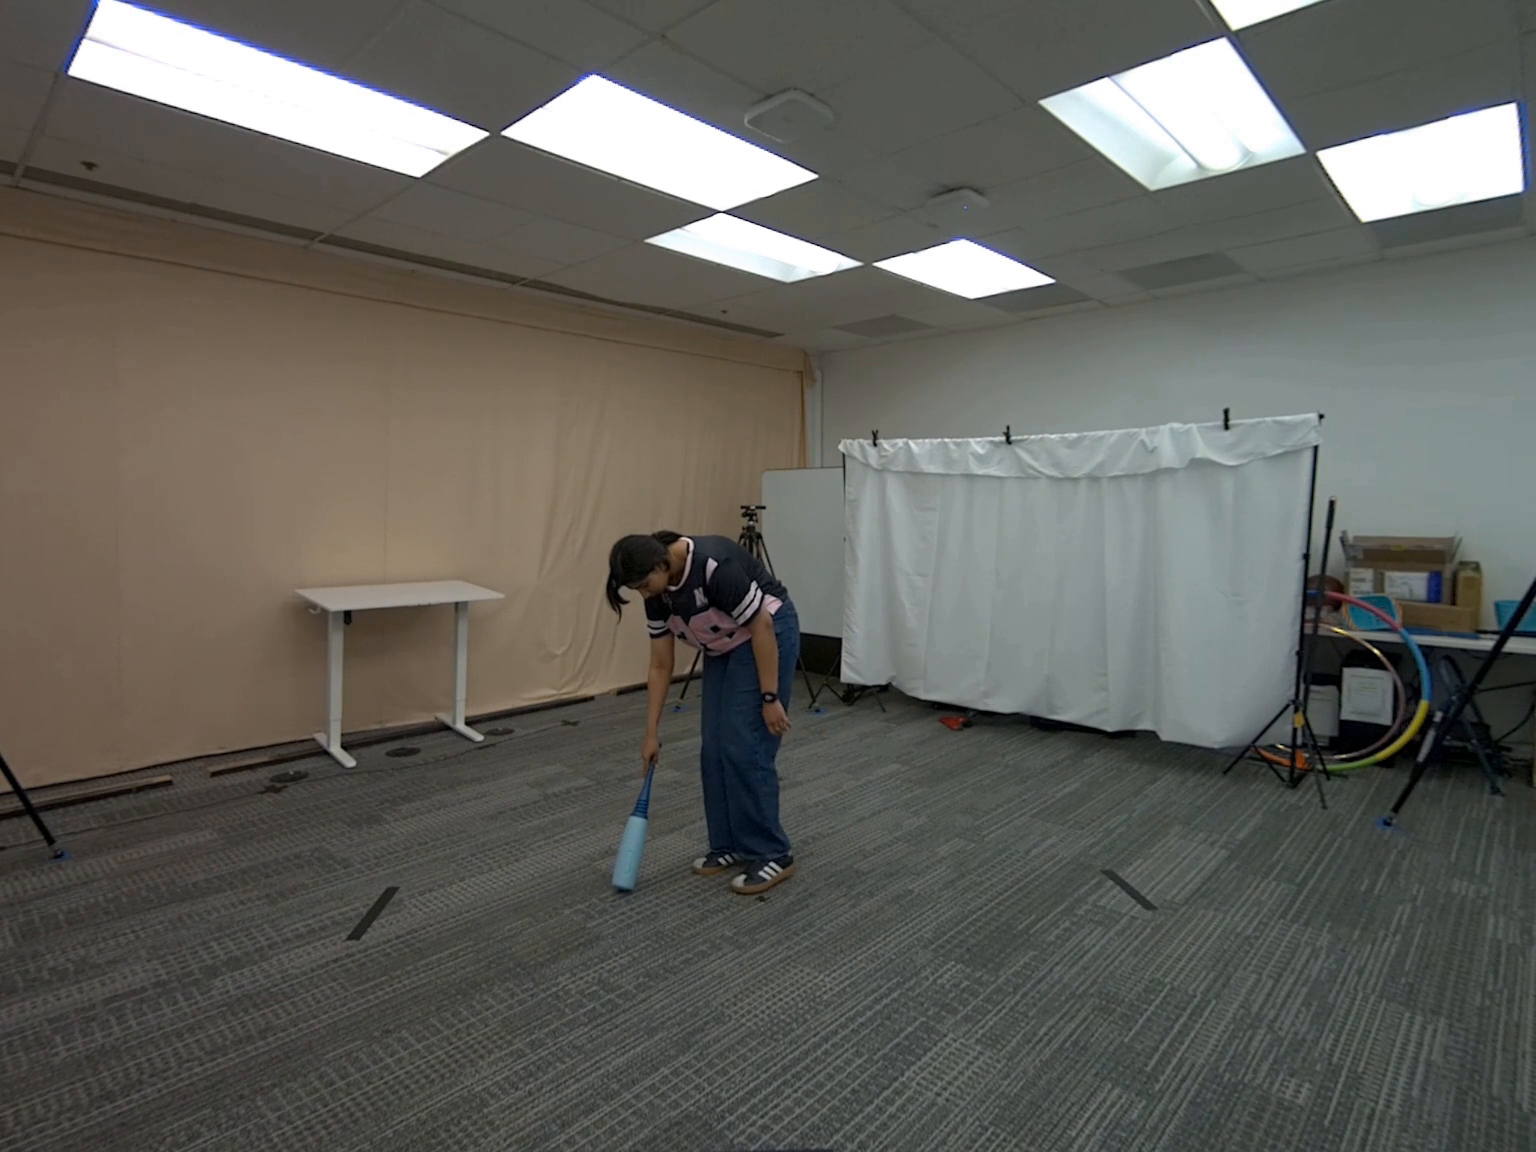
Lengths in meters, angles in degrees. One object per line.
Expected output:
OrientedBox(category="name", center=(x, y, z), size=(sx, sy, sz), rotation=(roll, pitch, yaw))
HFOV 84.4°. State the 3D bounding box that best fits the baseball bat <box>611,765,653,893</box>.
OrientedBox(category="baseball bat", center=(-0.474, 0.892, 3.144), size=(0.089, 0.547, 0.088), rotation=(11, -24, 3))
